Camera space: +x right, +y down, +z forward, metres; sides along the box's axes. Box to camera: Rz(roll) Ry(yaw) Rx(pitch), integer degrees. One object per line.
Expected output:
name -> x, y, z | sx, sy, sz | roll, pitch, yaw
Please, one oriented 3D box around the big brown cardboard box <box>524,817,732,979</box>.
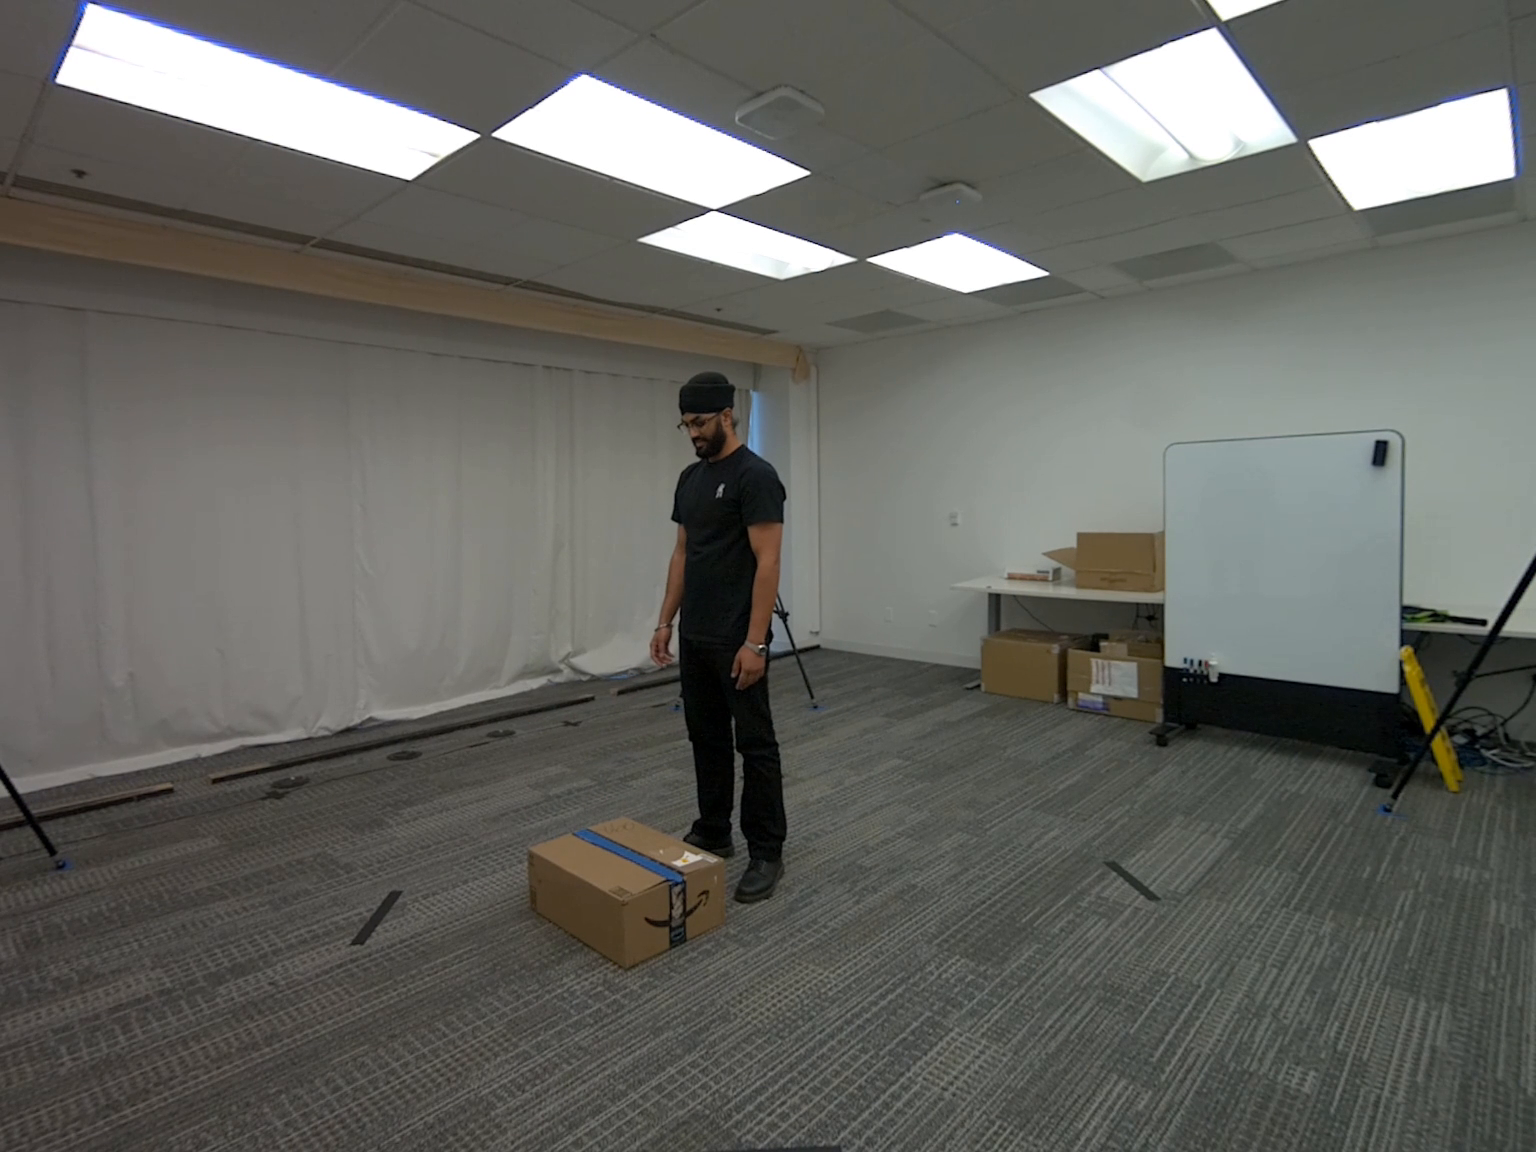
big brown cardboard box -> -0.483, 1.051, 2.858 | 0.405, 0.233, 0.608 | -5, 5, -44
